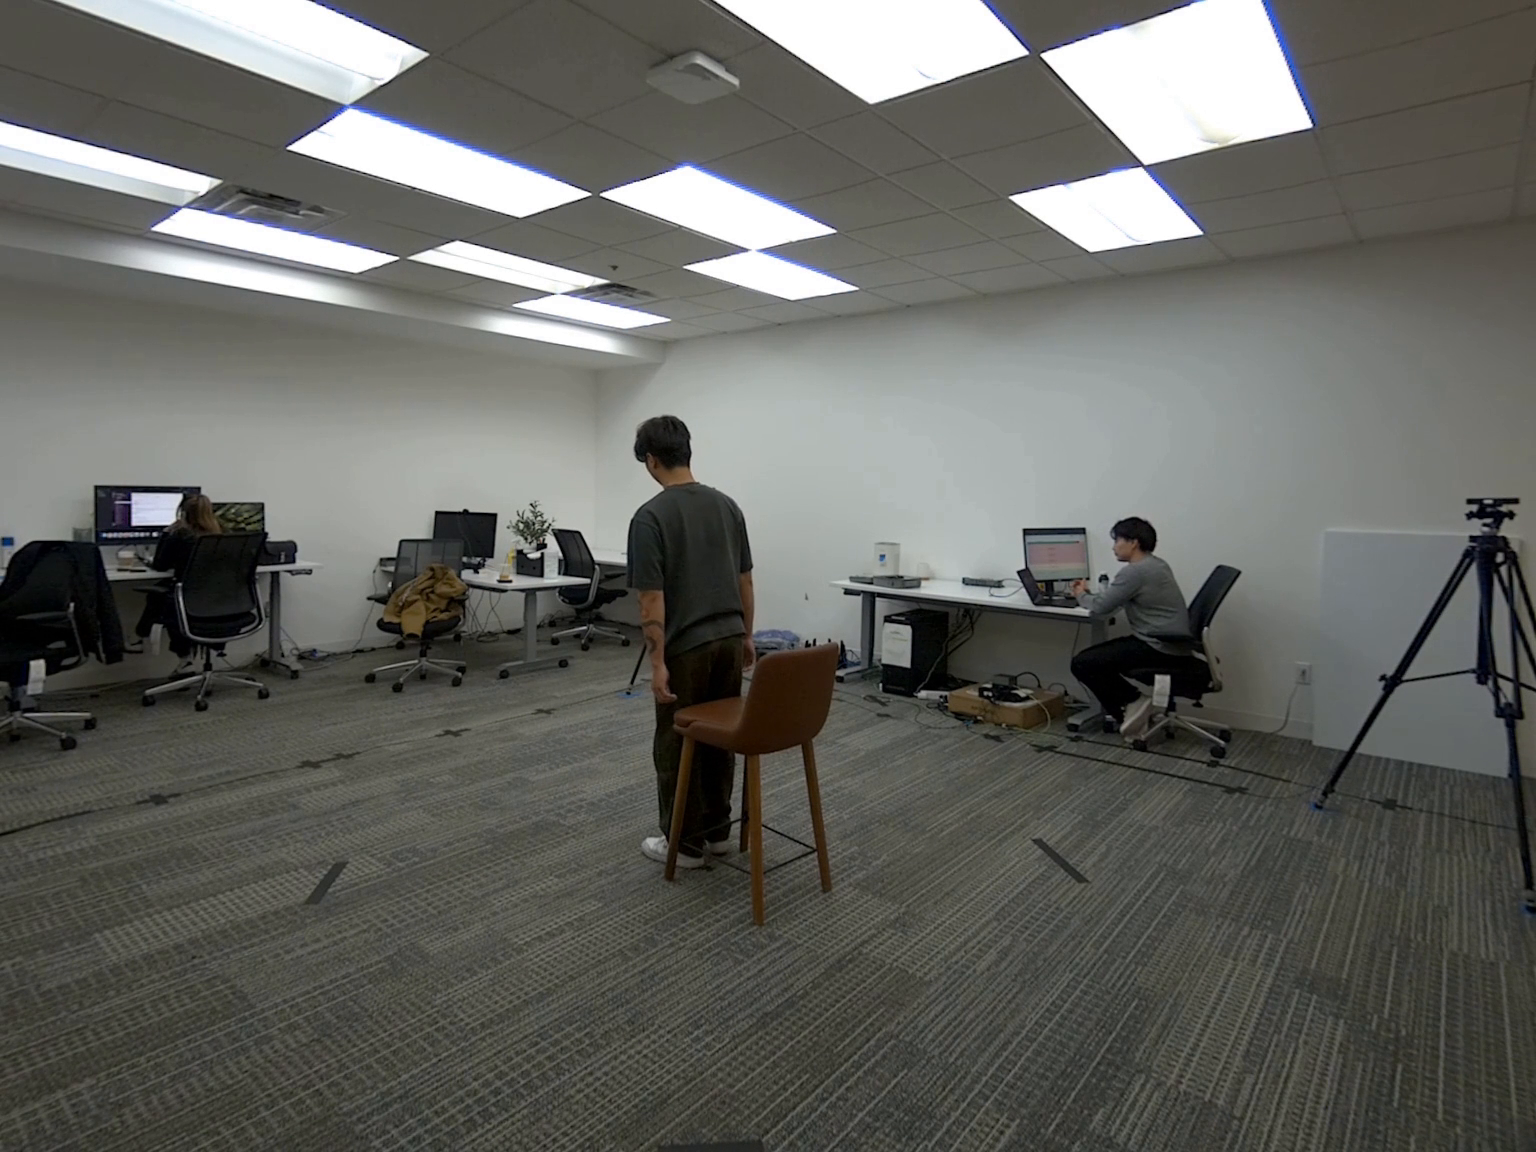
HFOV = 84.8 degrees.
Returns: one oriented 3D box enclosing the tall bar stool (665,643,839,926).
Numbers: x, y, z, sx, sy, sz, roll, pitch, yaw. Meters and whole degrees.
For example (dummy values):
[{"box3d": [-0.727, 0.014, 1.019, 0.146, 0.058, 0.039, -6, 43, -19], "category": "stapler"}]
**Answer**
[{"box3d": [-0.055, 0.645, 2.967, 0.484, 0.886, 0.442, 7, 6, 44], "category": "tall bar stool"}]
